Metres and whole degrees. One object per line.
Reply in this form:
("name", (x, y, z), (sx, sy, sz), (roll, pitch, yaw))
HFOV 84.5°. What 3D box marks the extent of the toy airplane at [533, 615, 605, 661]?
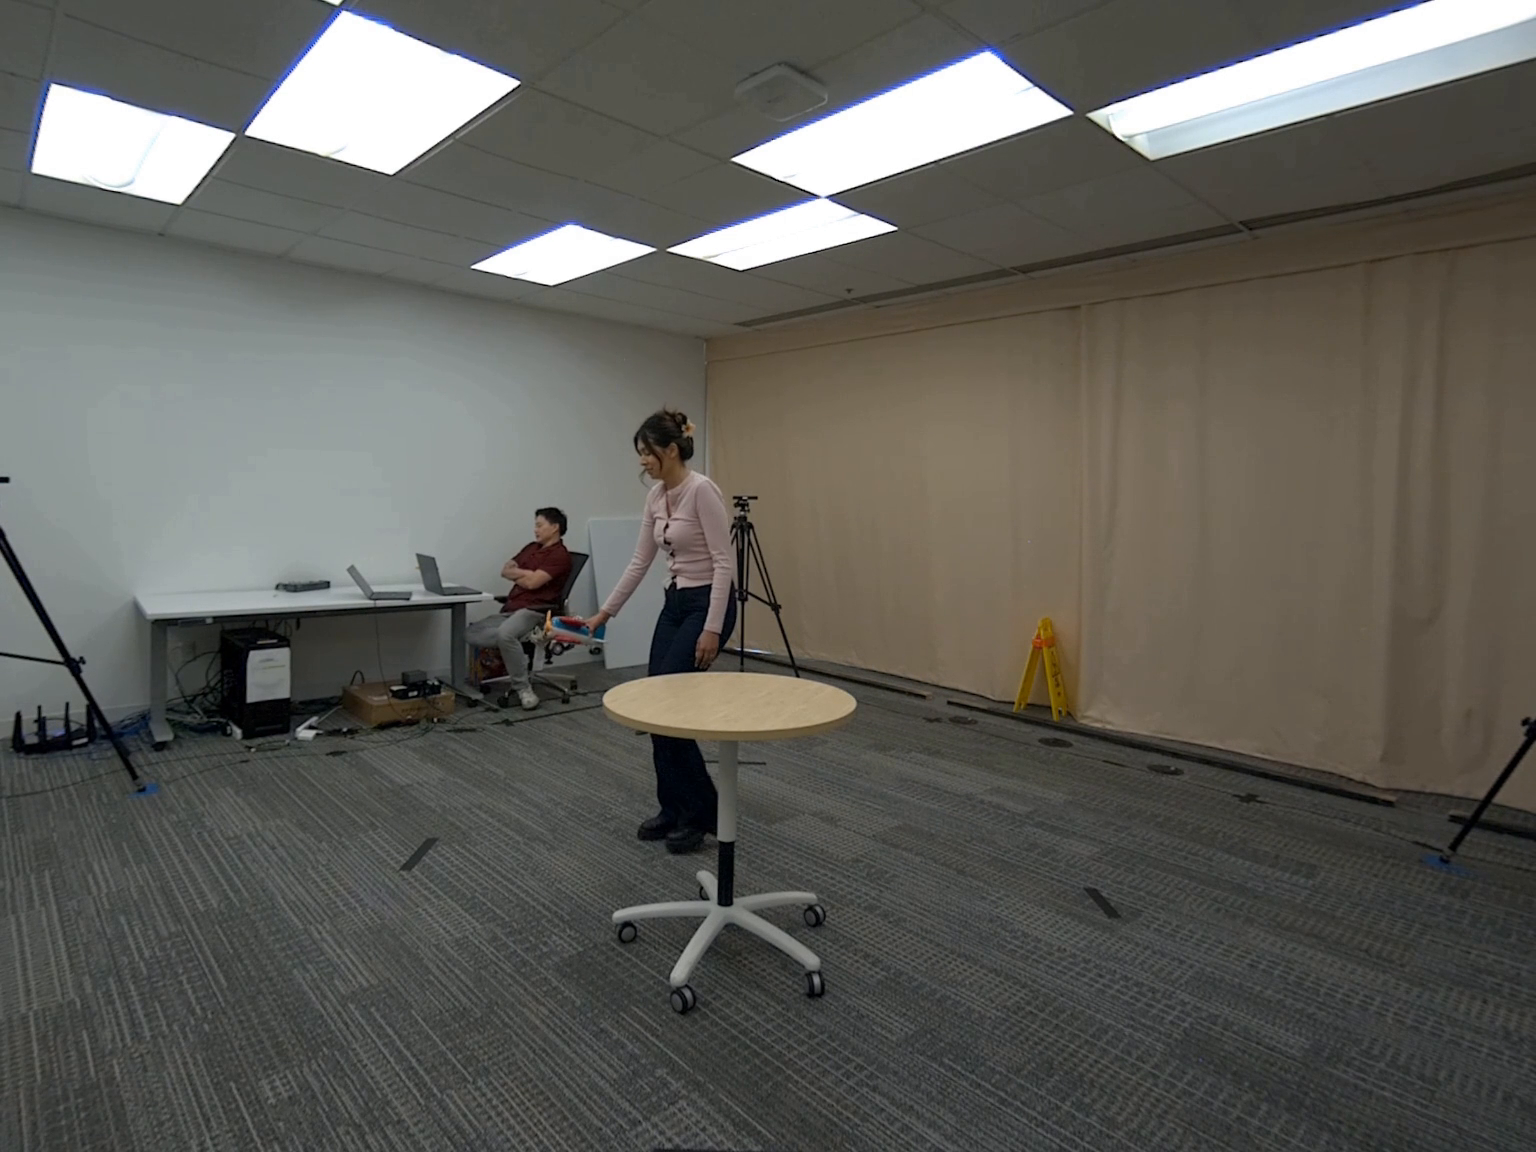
("toy airplane", (-0.804, 0.247, 3.446), (0.256, 0.157, 0.253), (-2, -3, 30))
